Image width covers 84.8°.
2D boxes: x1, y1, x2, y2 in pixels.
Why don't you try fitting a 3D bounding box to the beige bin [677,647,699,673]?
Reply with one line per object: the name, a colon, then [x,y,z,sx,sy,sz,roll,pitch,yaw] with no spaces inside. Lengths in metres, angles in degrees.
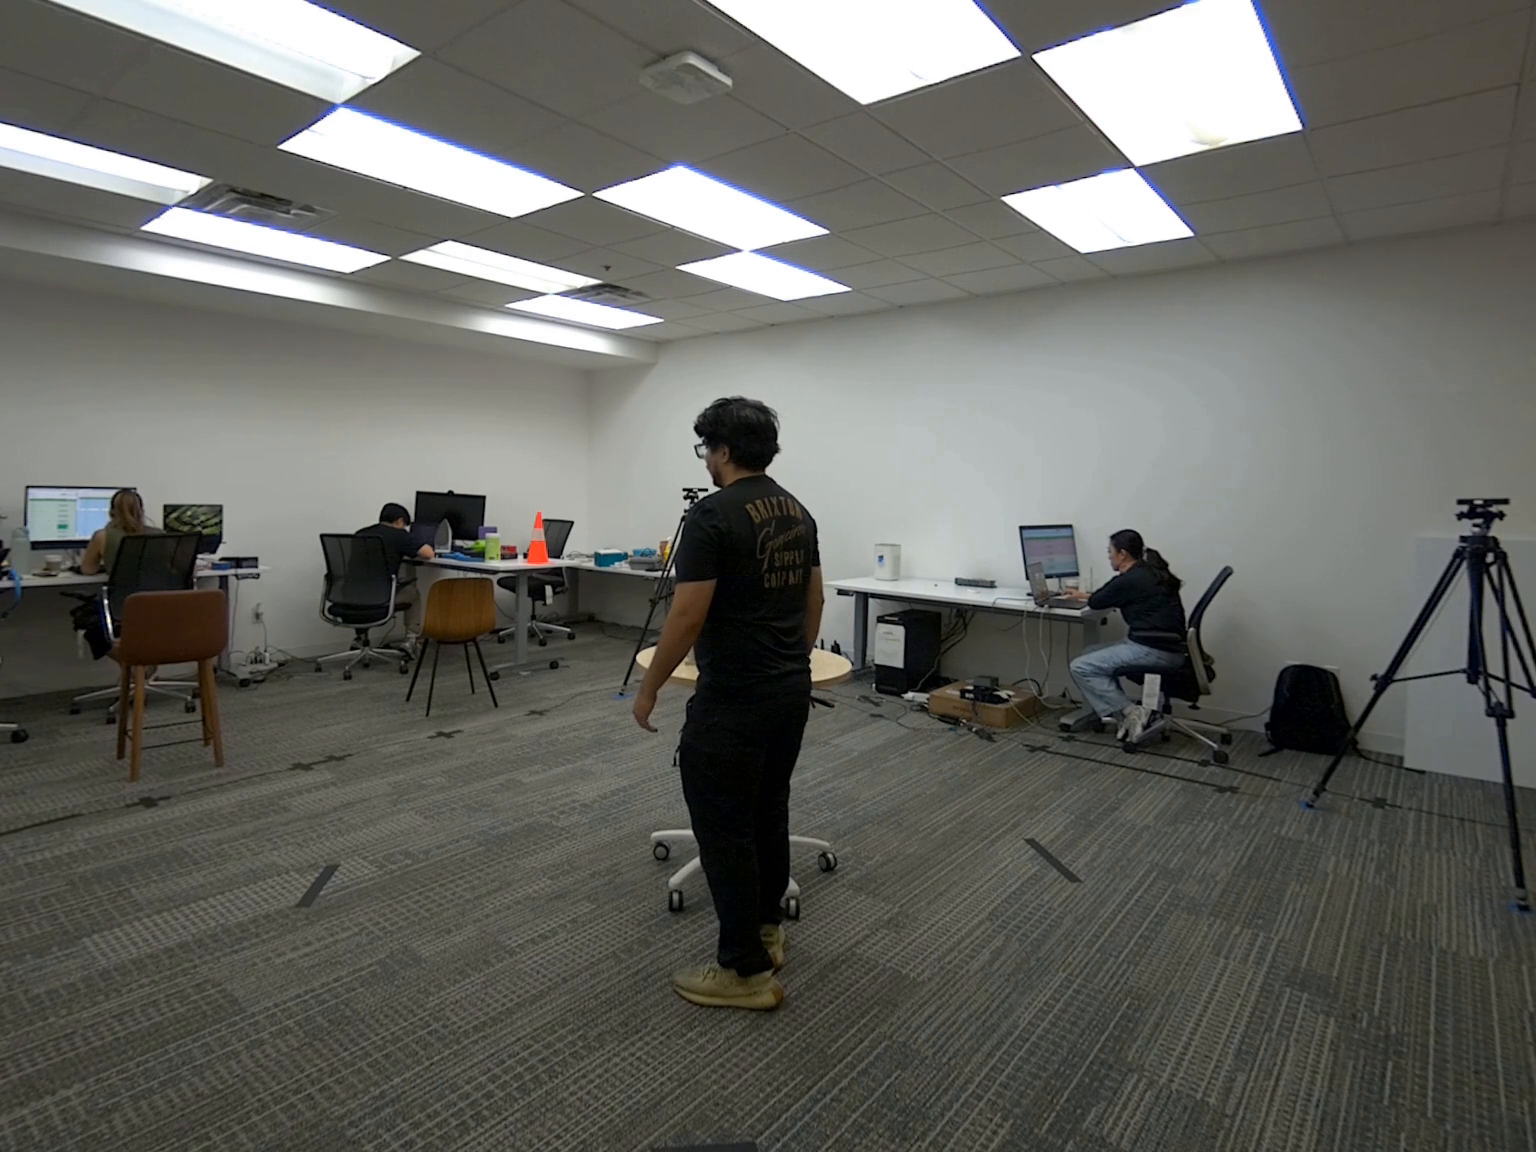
beige bin: [-0.089,0.194,3.097,0.421,0.188,0.380,0,4,-3]
